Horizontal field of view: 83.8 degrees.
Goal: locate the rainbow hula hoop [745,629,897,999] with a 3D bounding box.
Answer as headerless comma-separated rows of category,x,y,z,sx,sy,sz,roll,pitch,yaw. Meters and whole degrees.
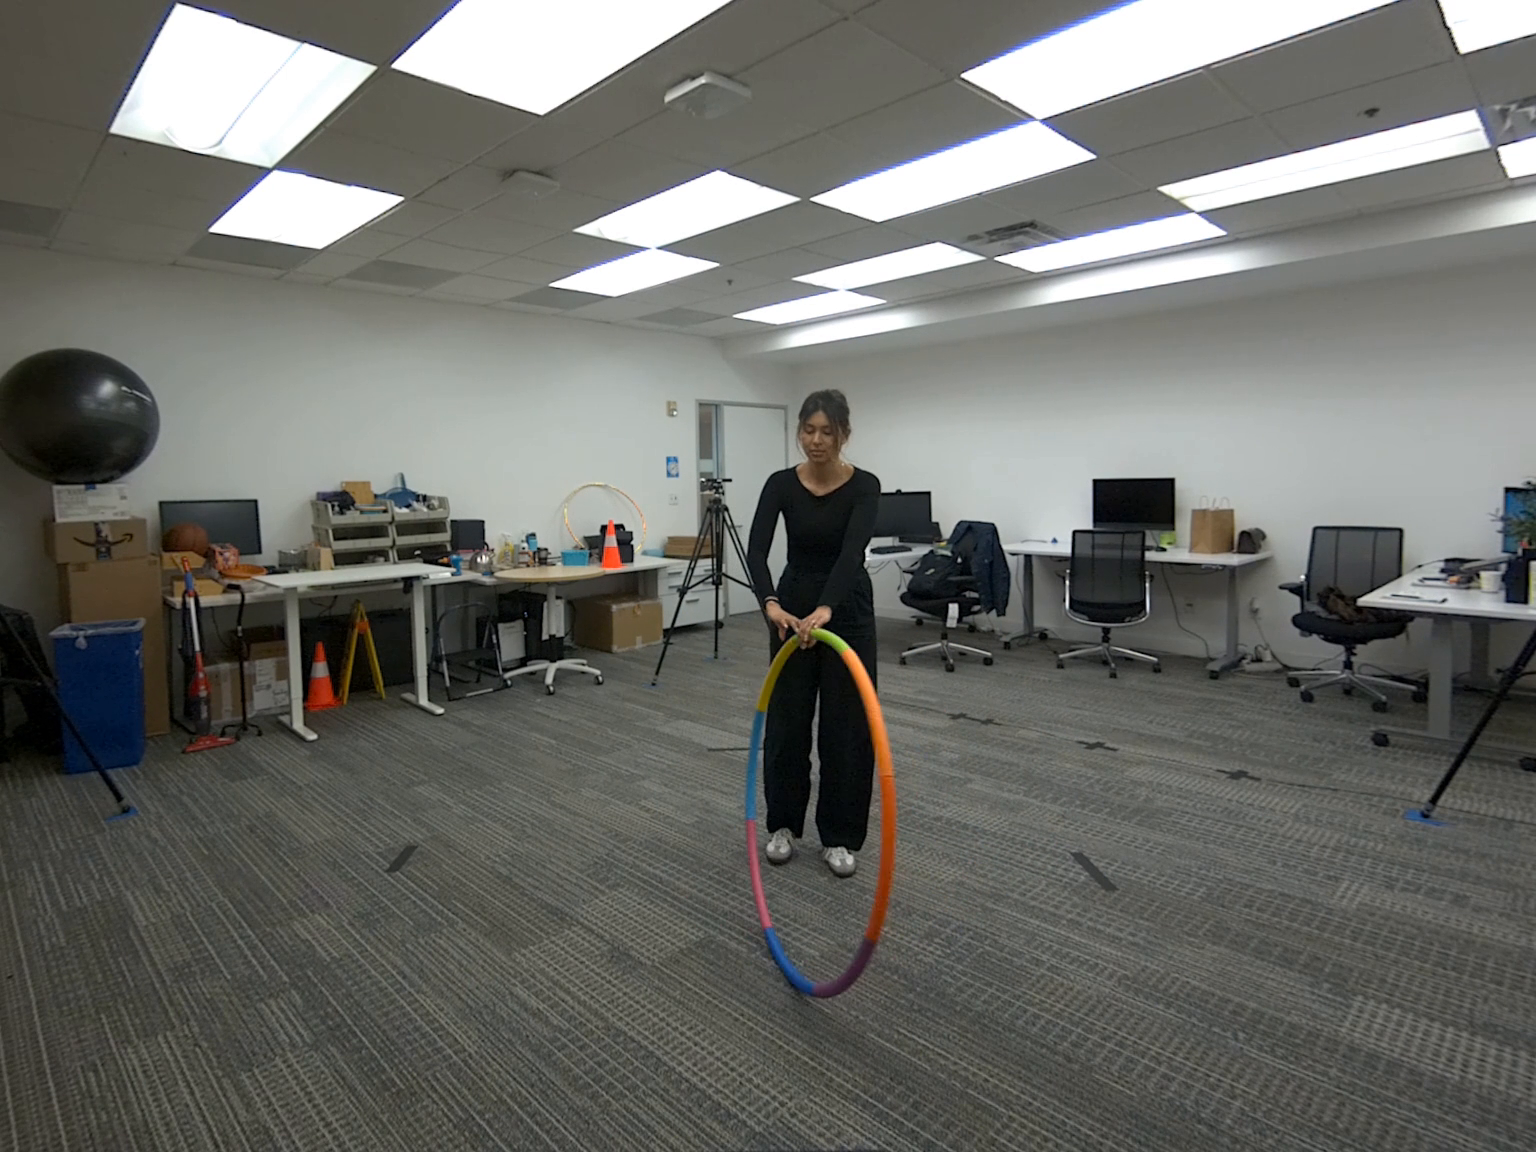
rainbow hula hoop,0.107,0.644,2.427,0.035,0.978,0.998,7,2,-20
